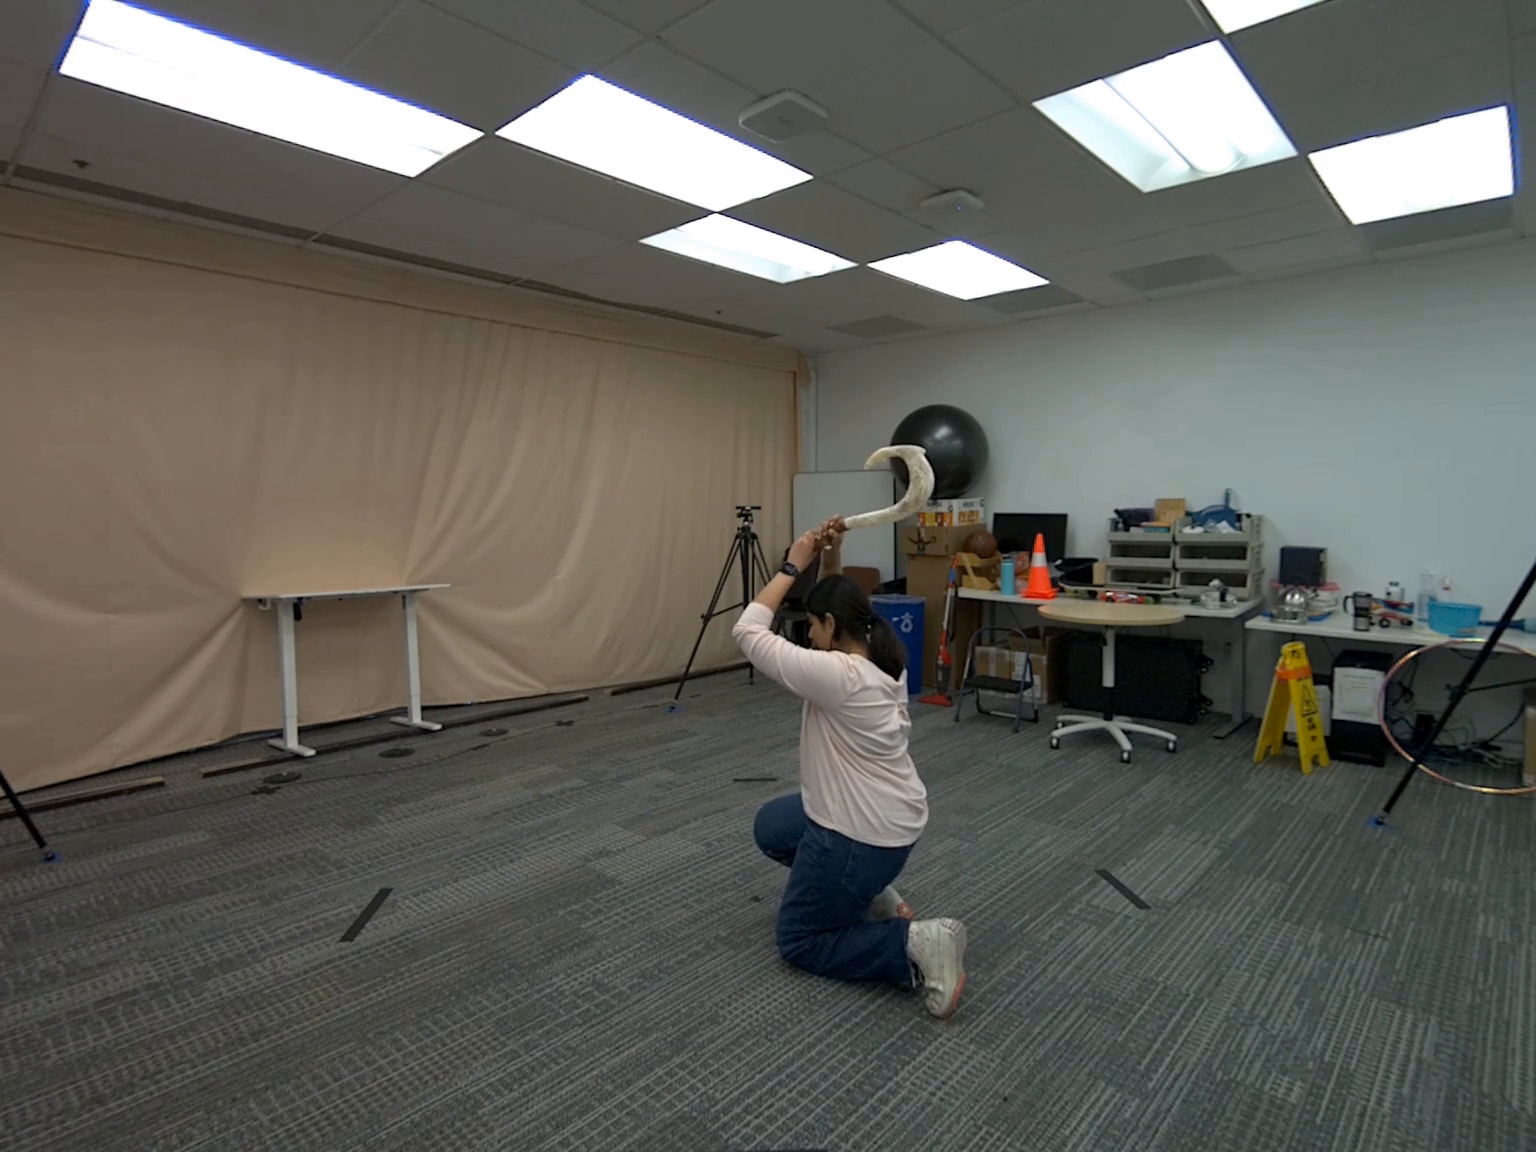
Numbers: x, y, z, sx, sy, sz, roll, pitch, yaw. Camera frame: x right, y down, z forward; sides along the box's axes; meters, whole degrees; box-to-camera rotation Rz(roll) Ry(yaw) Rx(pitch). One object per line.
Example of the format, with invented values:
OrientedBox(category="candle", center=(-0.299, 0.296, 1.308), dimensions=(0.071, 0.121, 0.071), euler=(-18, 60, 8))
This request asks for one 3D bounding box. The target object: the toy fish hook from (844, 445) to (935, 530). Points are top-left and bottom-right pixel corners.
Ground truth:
OrientedBox(category="toy fish hook", center=(0.264, -0.222, 2.501), dimensions=(0.516, 0.228, 0.046), euler=(-27, -27, 35))
